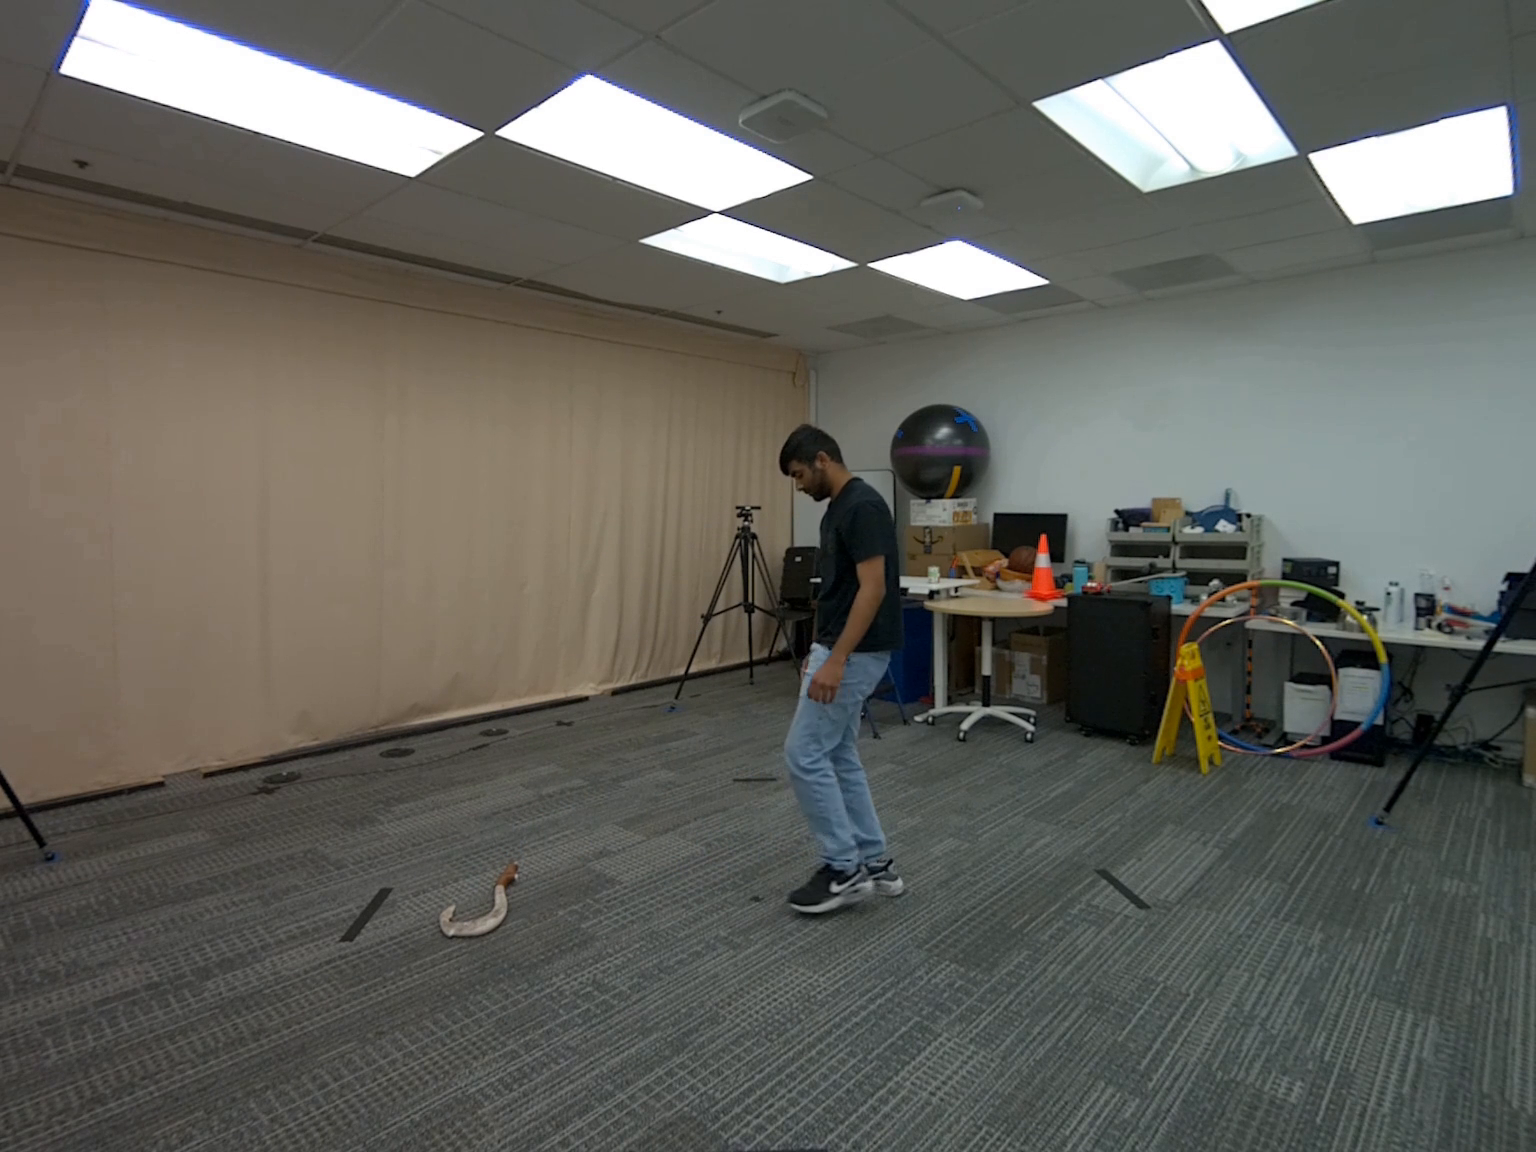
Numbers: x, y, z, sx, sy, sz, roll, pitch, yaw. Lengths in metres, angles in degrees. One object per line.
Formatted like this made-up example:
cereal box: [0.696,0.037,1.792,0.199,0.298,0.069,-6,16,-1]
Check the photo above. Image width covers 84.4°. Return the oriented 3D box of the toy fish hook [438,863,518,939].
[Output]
toy fish hook: [-1.008,1.135,2.970,0.224,0.048,0.509,0,4,-4]
